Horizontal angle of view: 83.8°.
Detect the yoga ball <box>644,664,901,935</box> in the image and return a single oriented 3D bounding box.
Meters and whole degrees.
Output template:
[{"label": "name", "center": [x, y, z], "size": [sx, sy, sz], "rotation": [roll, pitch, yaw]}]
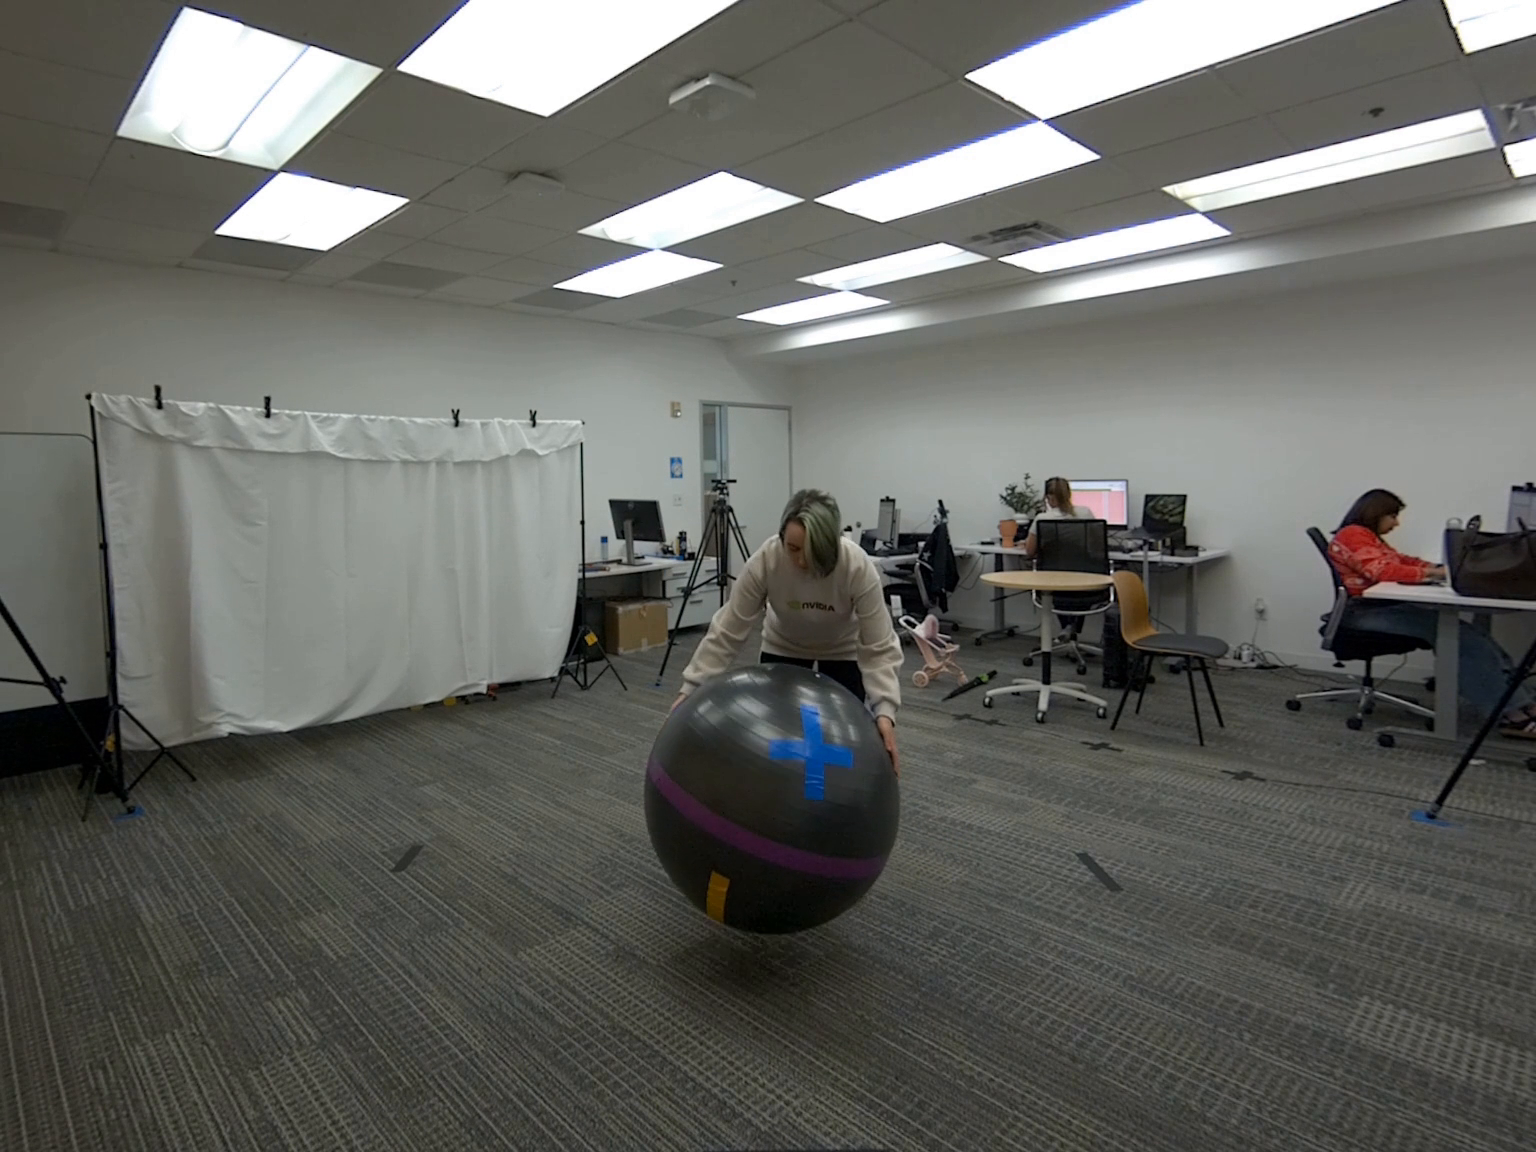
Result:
[{"label": "yoga ball", "center": [0.021, 0.642, 2.526], "size": [0.757, 0.755, 0.762], "rotation": [-1, 5, -2]}]
